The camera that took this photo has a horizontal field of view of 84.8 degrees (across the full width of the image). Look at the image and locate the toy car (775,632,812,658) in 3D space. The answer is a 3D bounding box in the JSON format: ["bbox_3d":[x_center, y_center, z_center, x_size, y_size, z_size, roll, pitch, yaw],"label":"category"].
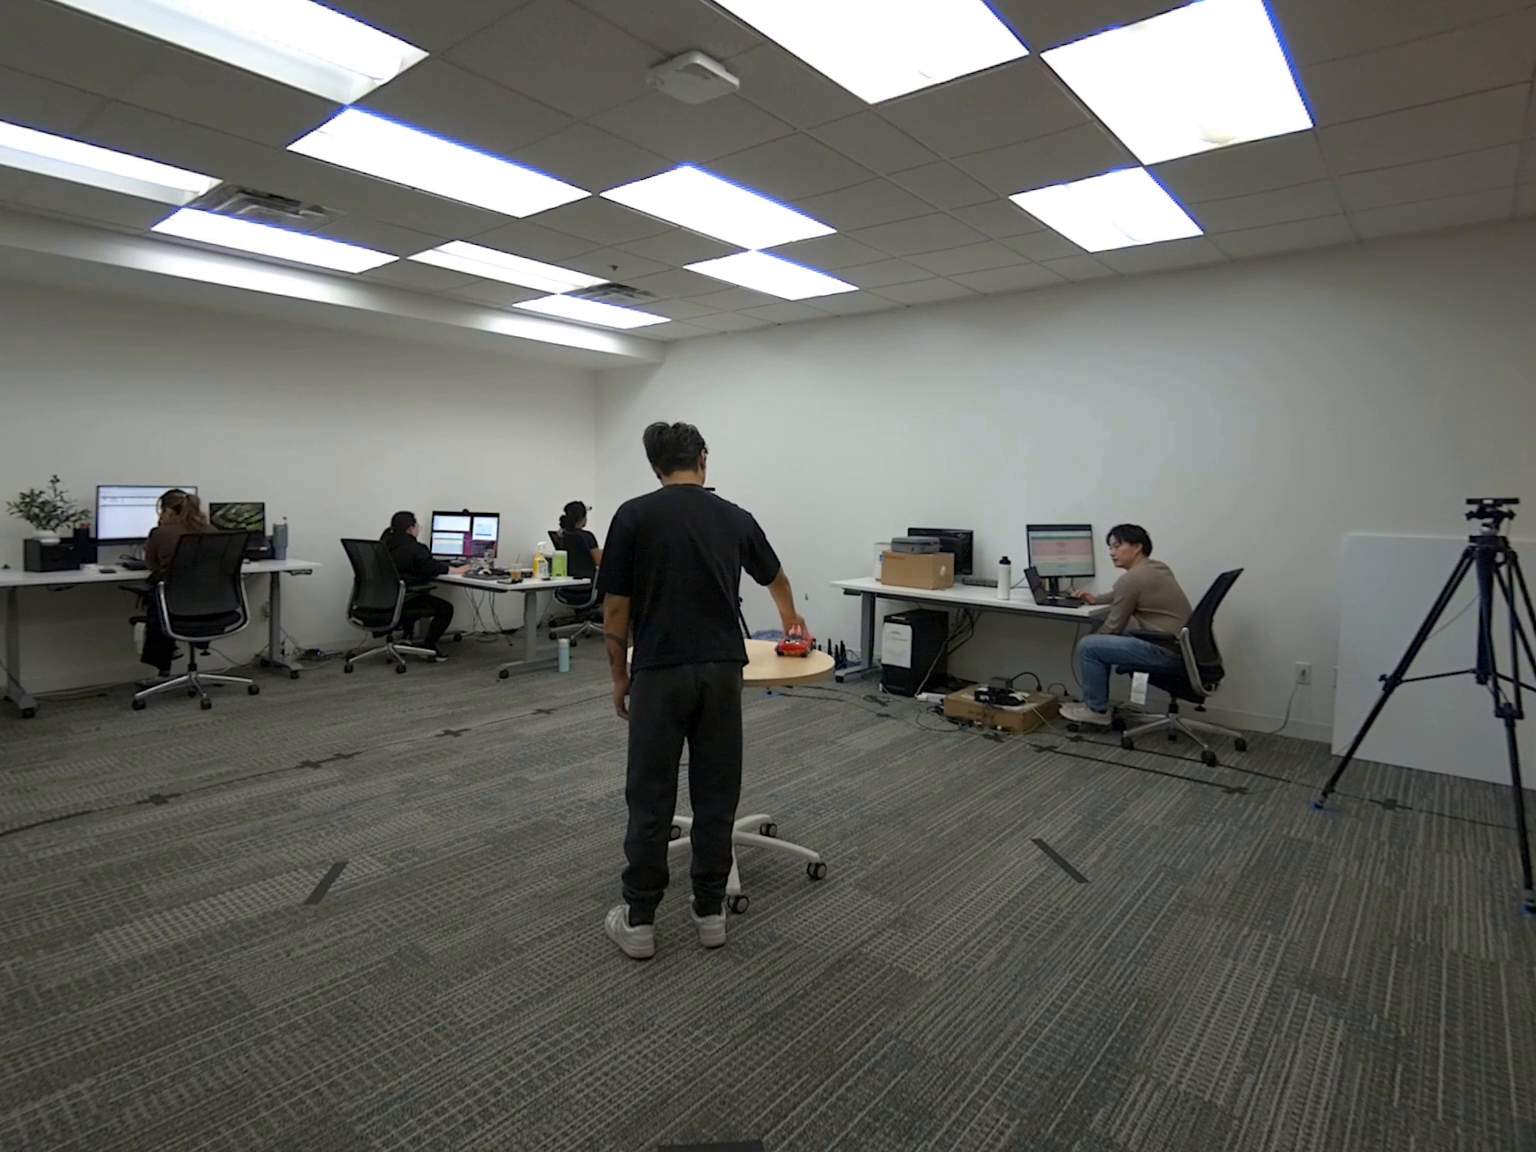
[{"bbox_3d":[0.097,0.251,3.212,0.132,0.082,0.255,3,17,11],"label":"toy car"}]
